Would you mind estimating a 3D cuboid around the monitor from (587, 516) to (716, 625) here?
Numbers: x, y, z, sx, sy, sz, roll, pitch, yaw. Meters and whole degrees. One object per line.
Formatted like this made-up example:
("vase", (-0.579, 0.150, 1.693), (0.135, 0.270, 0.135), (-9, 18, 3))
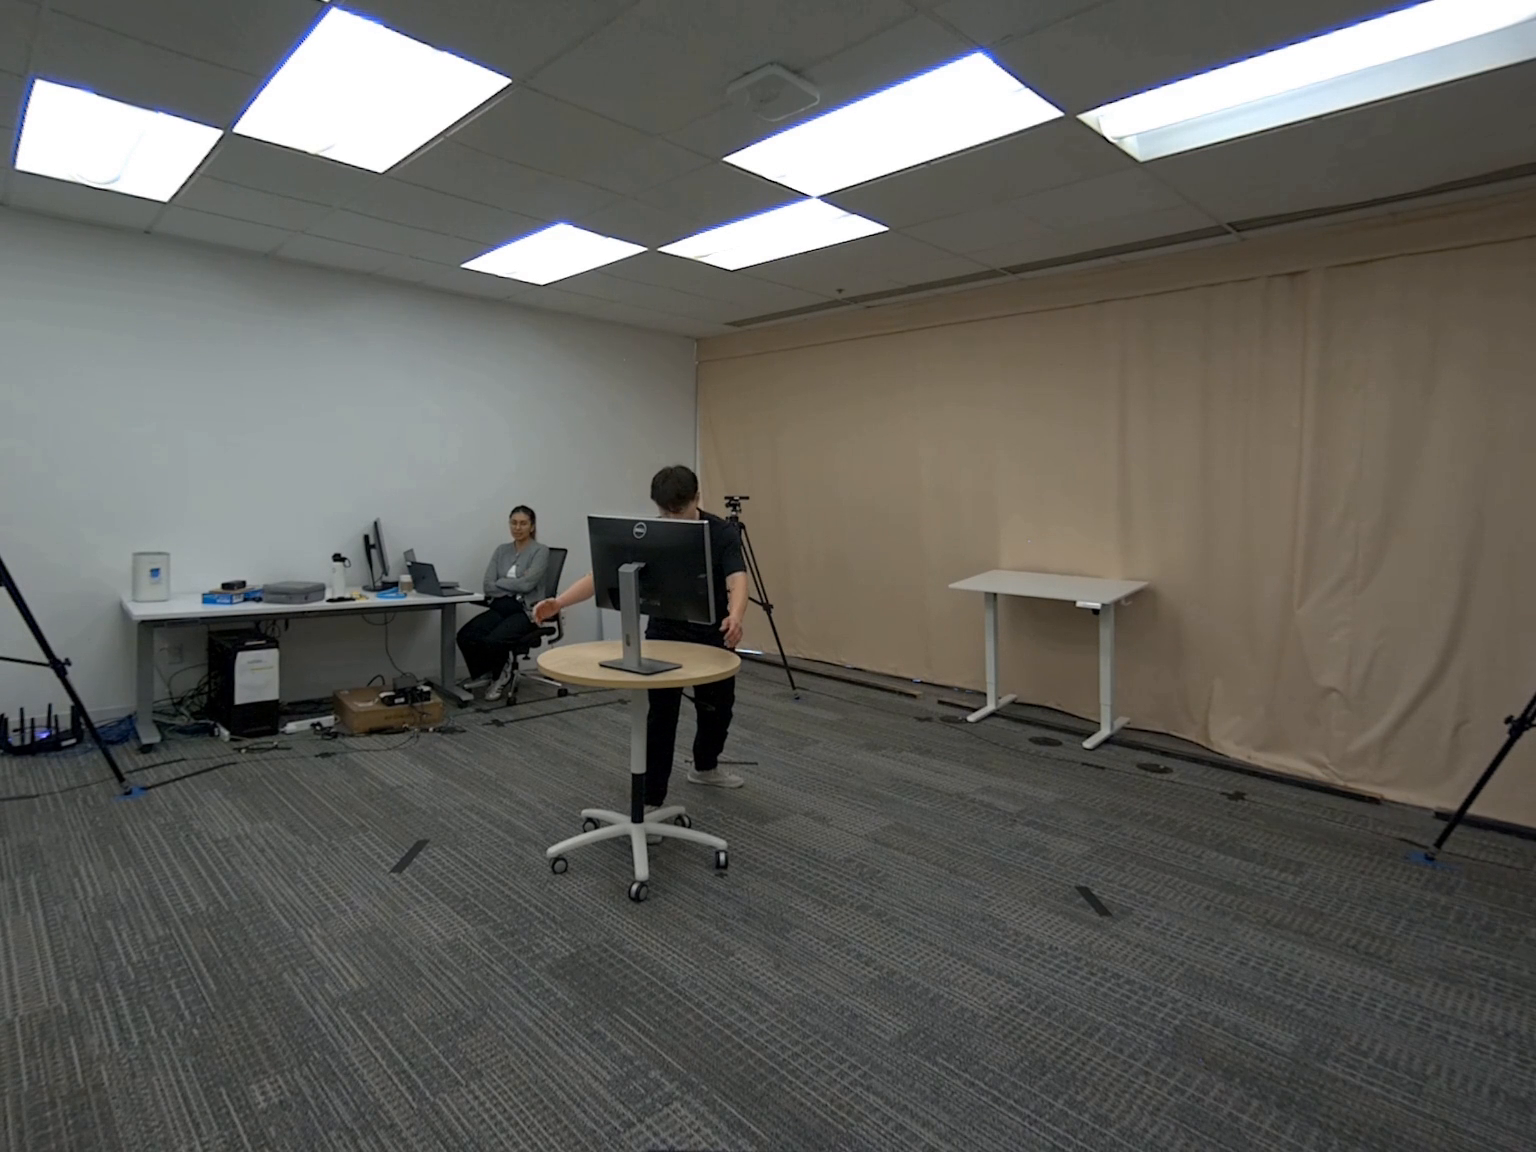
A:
("monitor", (-0.466, 0.066, 3.023), (0.552, 0.522, 0.183), (5, 2, 33))
